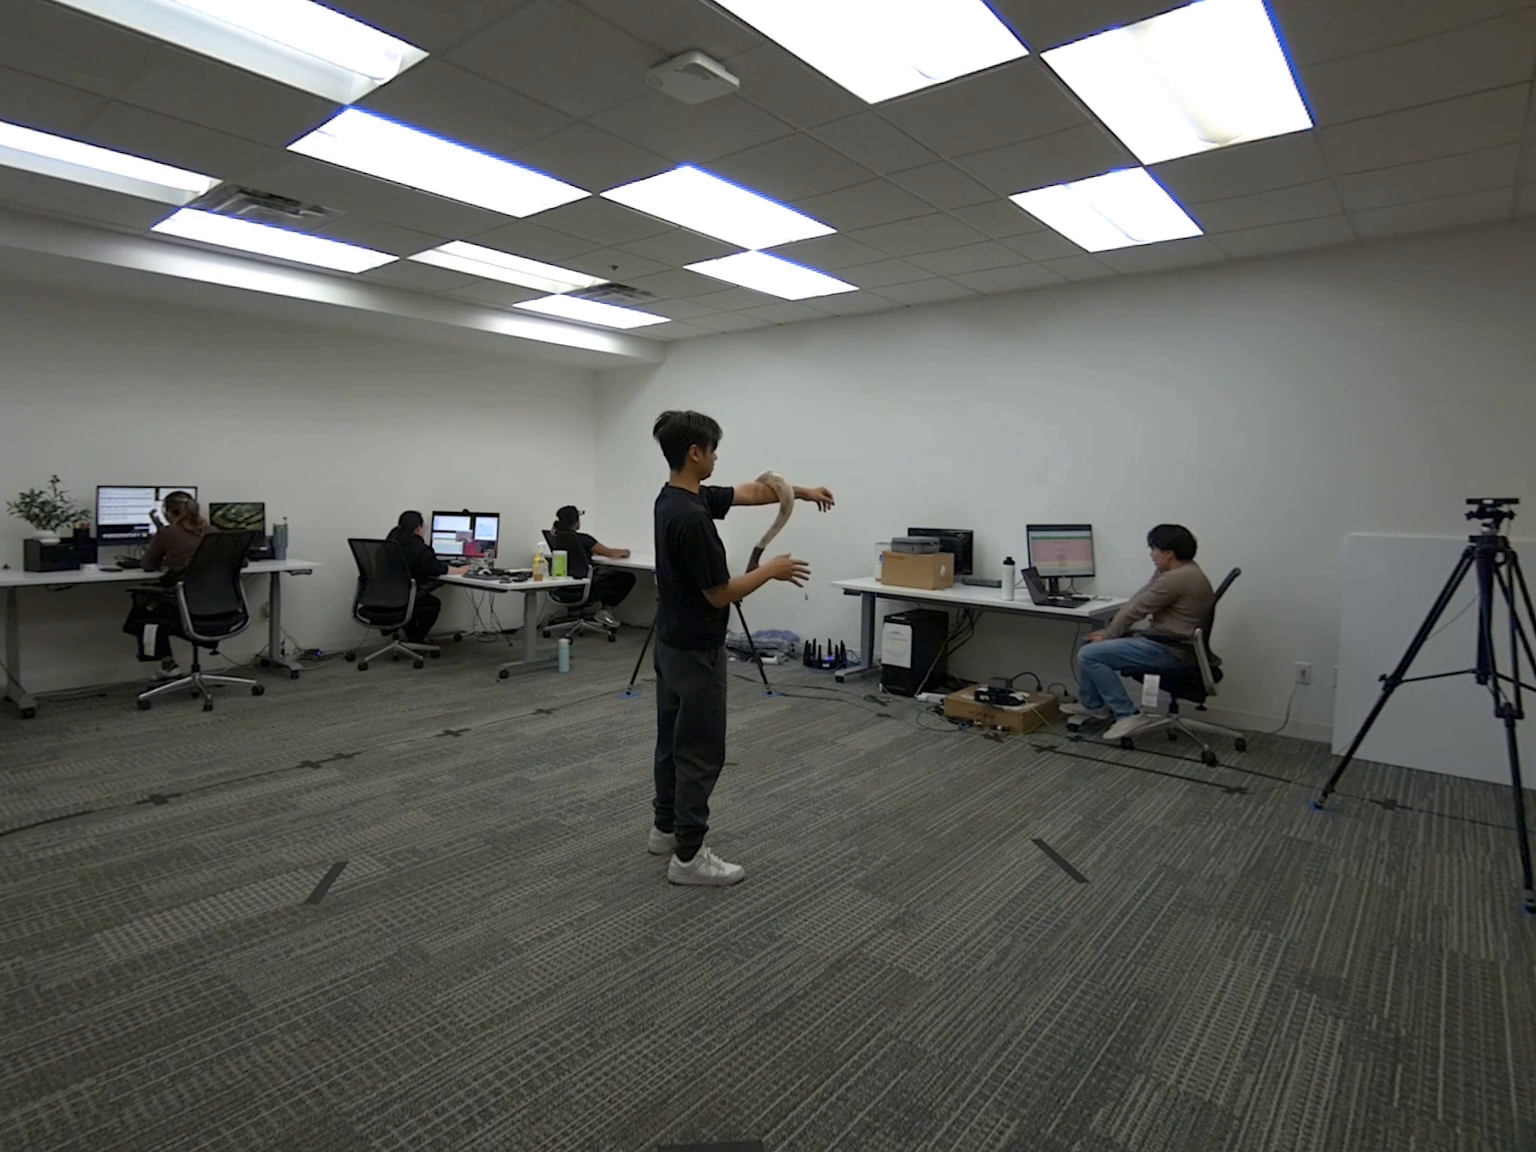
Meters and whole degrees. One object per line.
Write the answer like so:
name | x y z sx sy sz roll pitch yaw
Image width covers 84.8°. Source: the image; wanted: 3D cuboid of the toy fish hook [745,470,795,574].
toy fish hook | -0.050 -0.188 3.409 0.047 0.501 0.233 -10 42 -47
